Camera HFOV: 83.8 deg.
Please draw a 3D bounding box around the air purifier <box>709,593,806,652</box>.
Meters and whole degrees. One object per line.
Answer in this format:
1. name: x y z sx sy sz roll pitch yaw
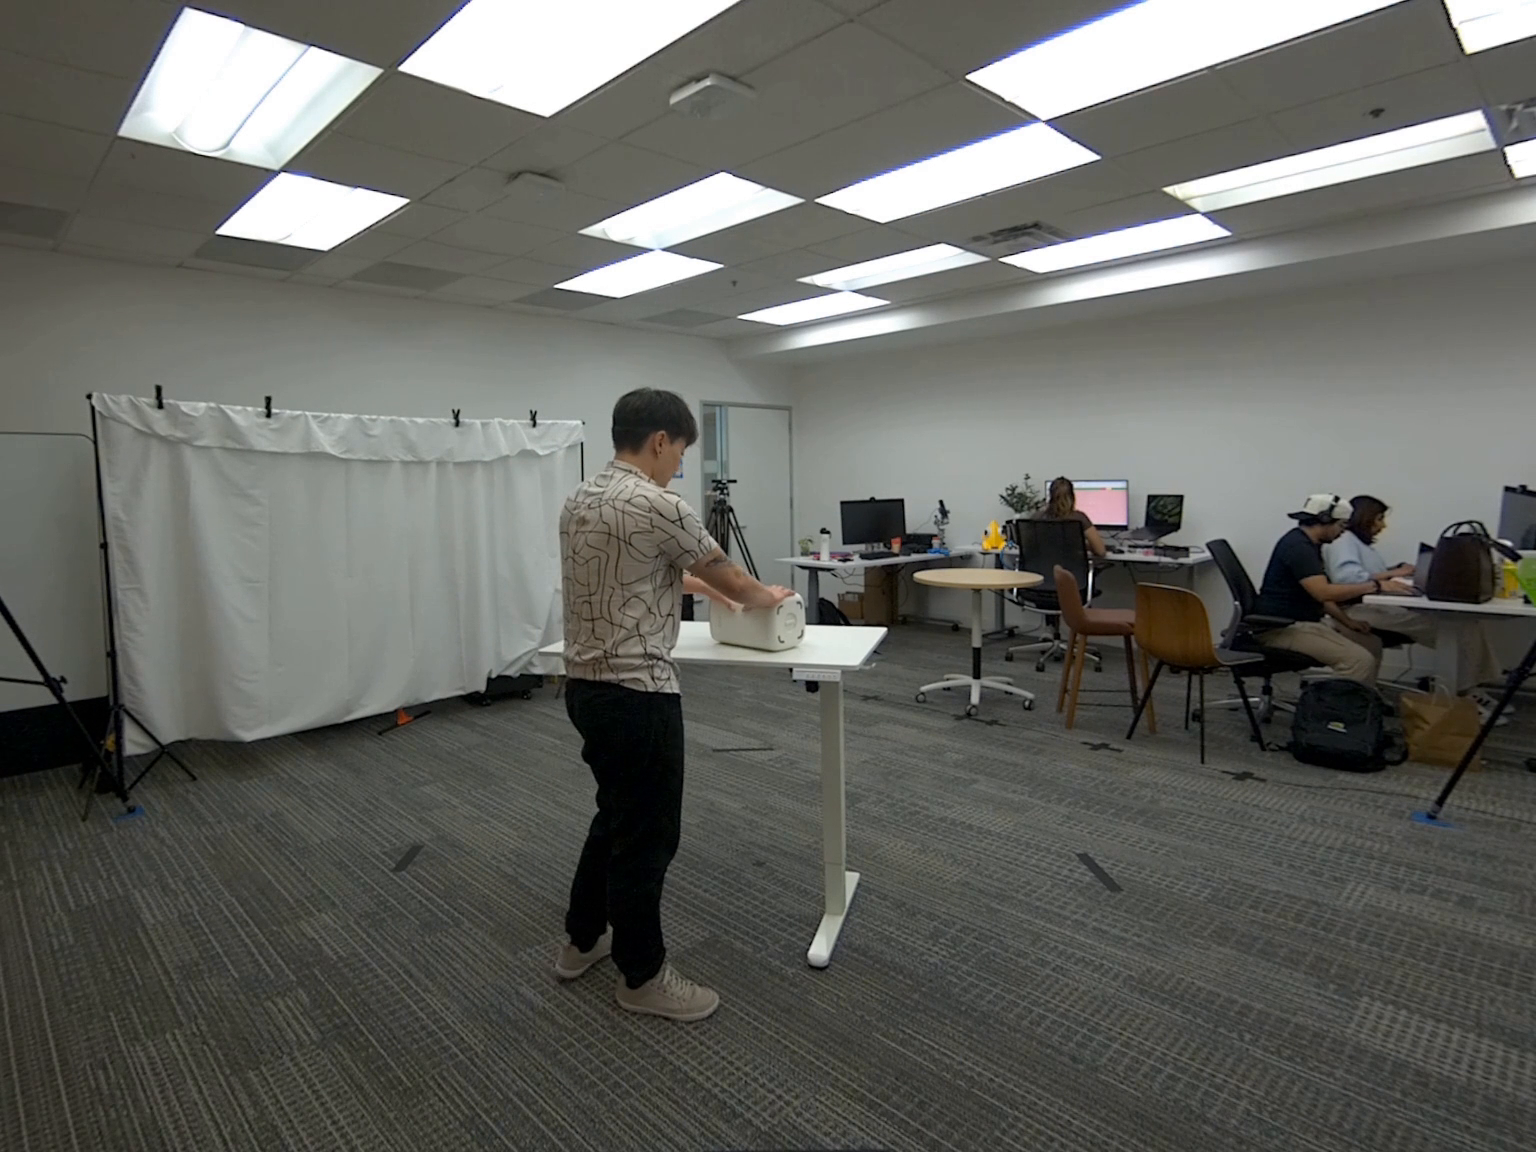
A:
1. air purifier: -0.028 0.130 2.649 0.273 0.170 0.167 4 9 44
